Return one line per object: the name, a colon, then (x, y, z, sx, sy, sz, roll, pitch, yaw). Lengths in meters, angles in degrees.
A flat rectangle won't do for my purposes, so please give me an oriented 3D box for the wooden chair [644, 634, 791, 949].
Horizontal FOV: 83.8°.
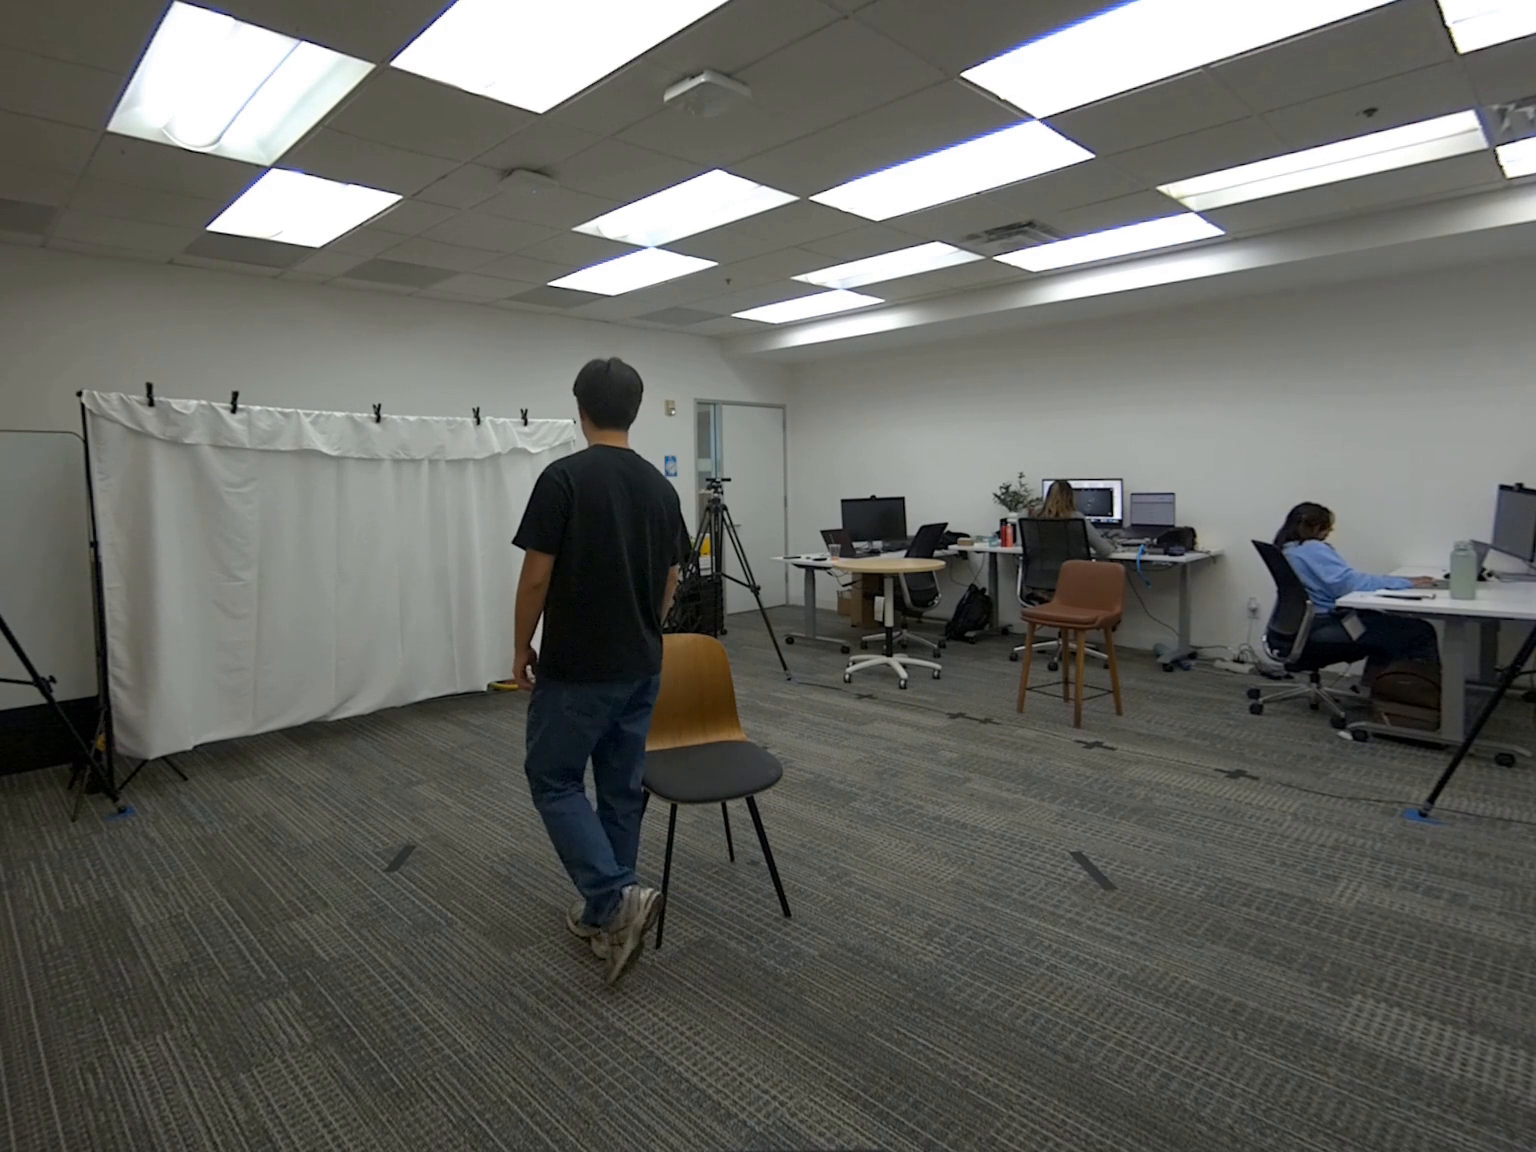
wooden chair: (-0.225, 0.654, 2.801, 0.468, 0.877, 0.534, -3, 1, -24)
